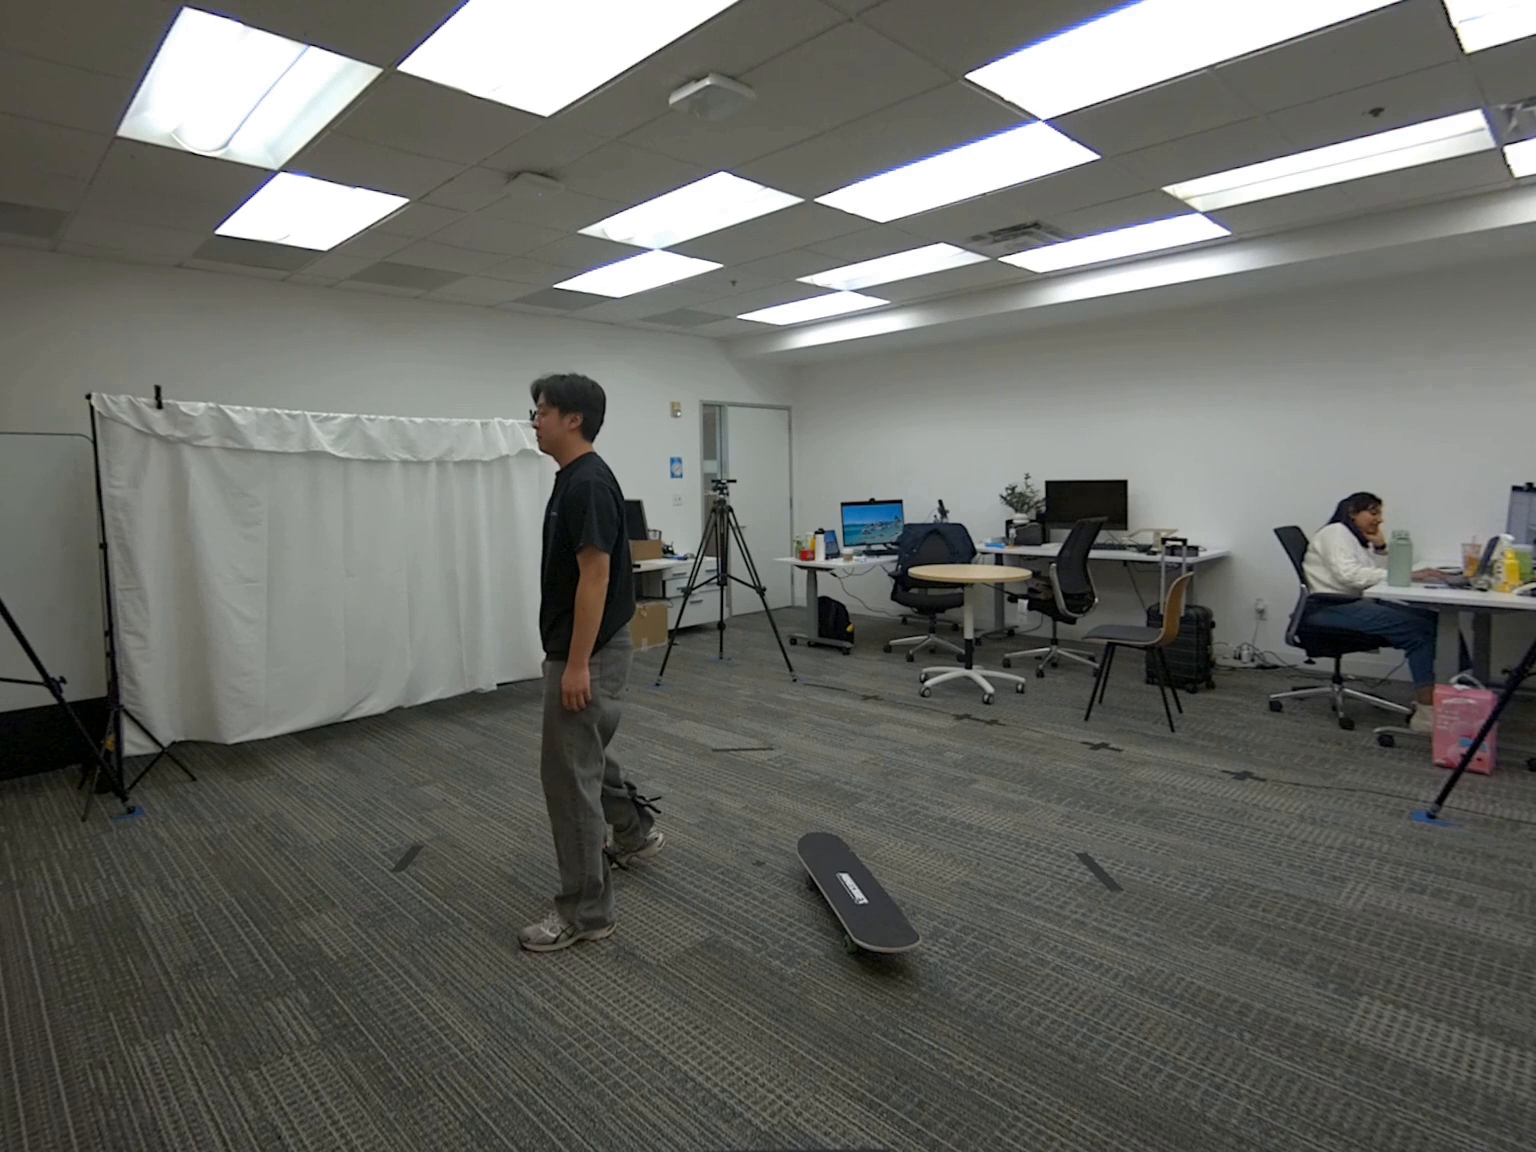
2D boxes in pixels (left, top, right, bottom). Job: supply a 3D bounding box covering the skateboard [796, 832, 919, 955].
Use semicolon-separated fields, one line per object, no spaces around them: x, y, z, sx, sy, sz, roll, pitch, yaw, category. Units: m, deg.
0.269;1.025;2.727;0.191;0.110;0.798;-2;7;-13;skateboard
